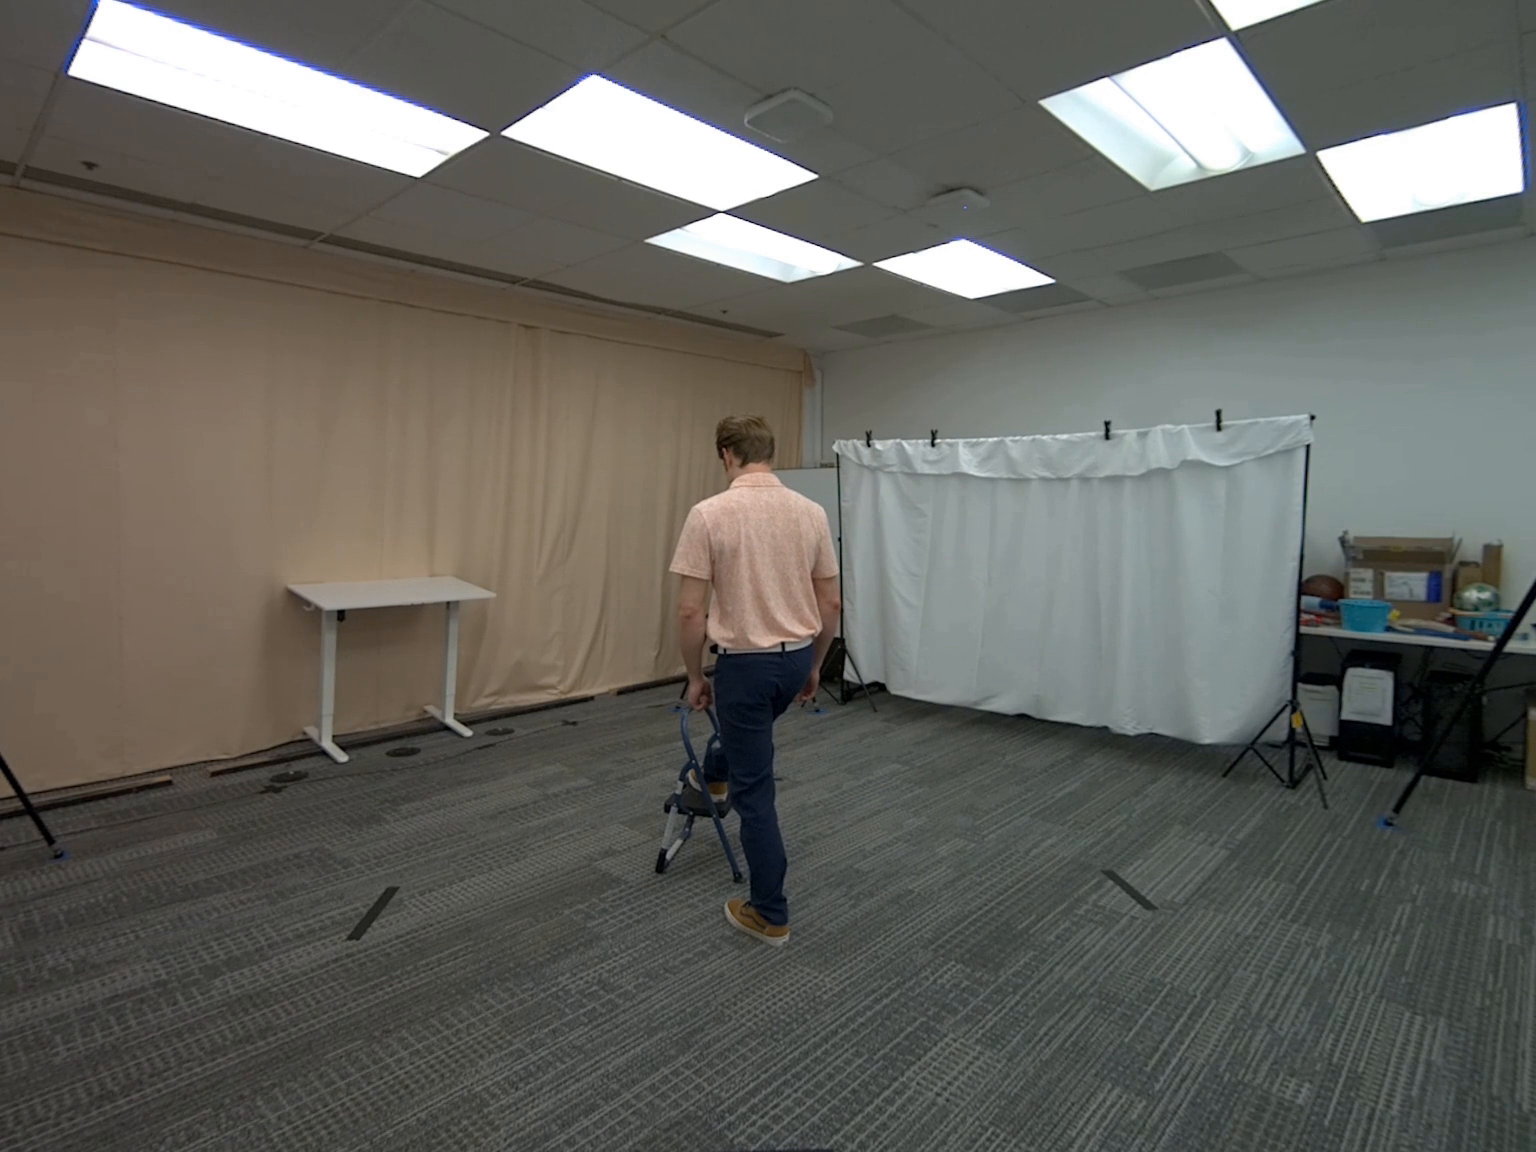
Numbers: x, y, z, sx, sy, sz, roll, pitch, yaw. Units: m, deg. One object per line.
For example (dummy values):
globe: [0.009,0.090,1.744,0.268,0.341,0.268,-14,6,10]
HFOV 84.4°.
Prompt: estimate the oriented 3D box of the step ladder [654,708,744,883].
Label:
step ladder: [-0.228,0.815,3.337,0.354,0.605,0.426,0,3,11]
